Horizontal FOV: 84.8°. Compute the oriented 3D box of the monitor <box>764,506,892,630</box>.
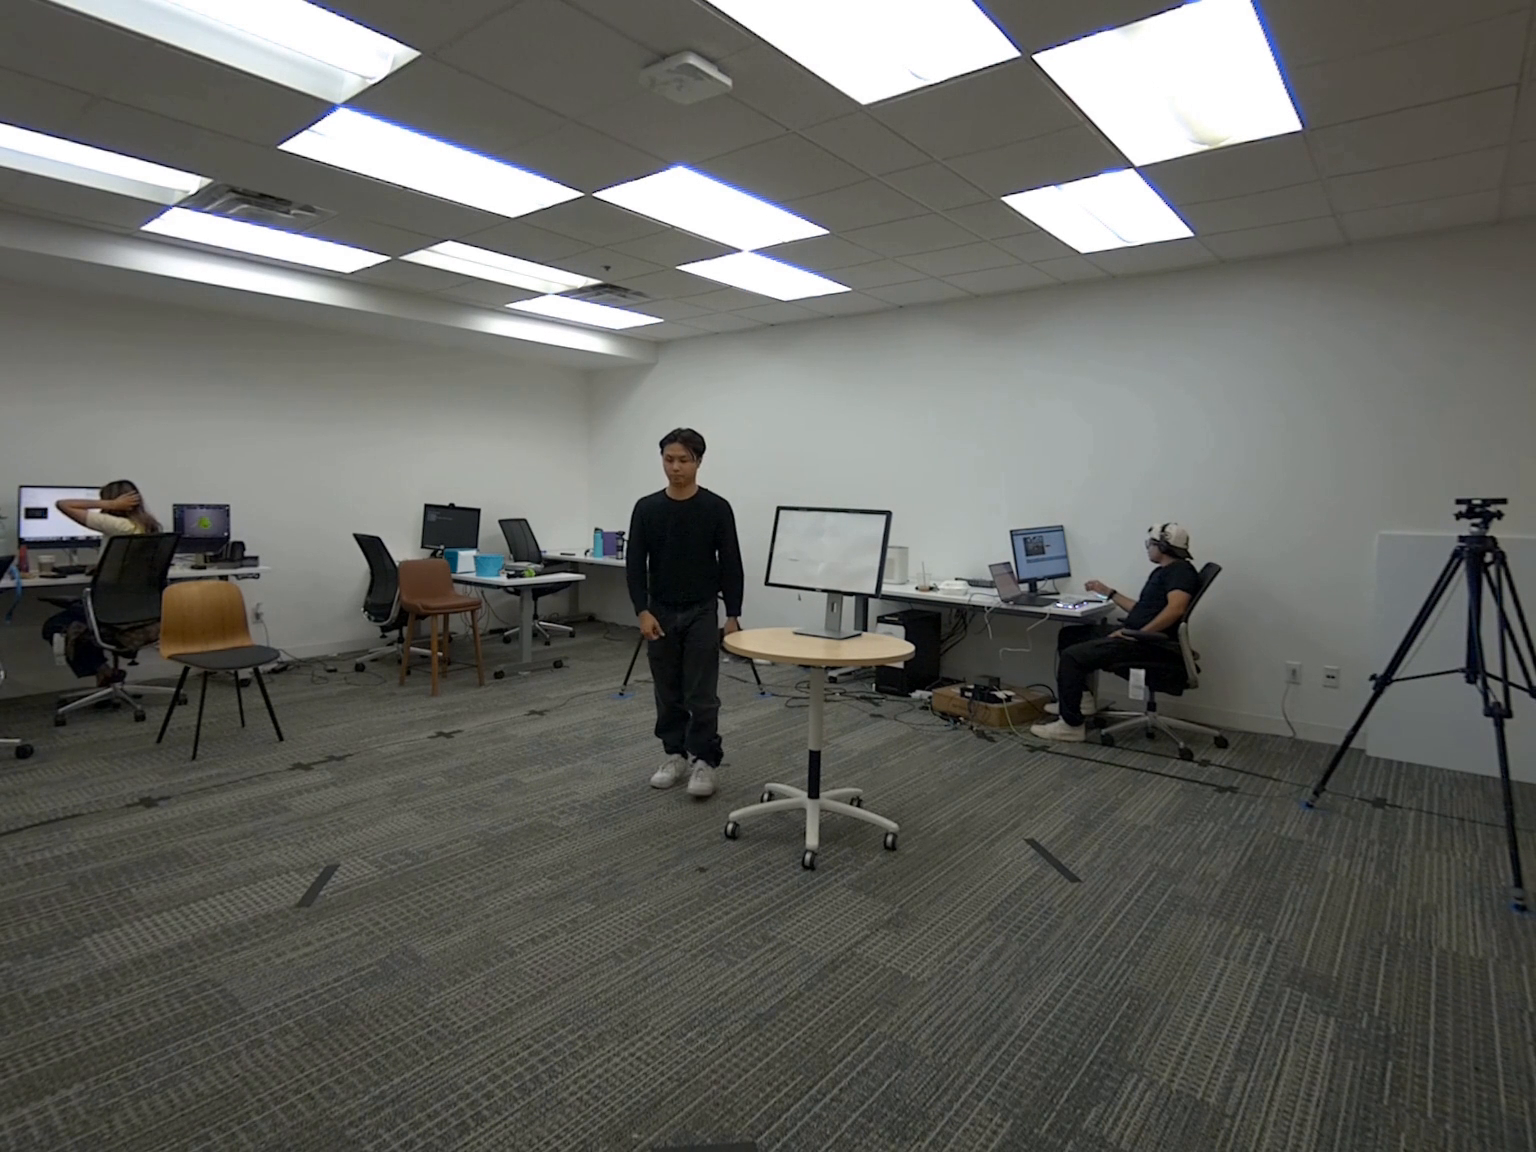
[{"bbox_3d":[0.257,-0.021,3.650,0.556,0.521,0.182,4,4,34],"label":"monitor"}]
